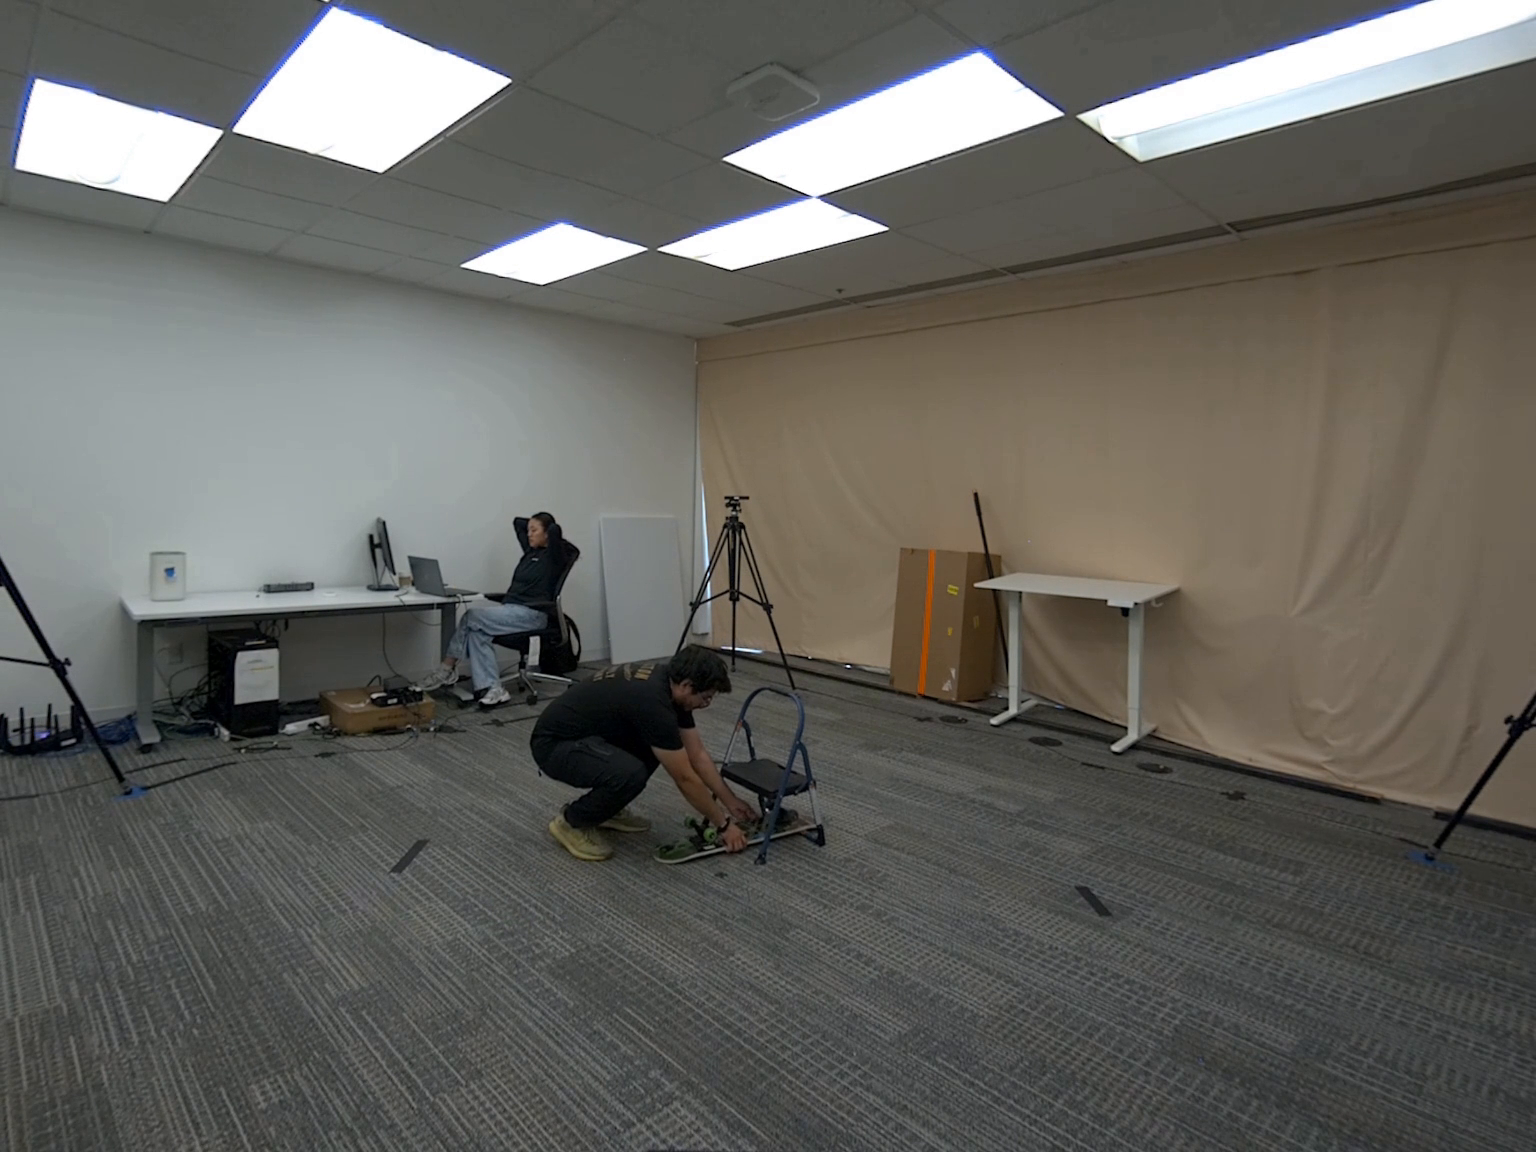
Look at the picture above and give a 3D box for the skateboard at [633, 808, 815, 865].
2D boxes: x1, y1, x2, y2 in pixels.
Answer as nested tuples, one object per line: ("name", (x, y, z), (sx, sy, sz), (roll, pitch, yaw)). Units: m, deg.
("skateboard", (-0.120, 1.022, 3.428), (0.769, 0.110, 0.198), (-3, 6, -35))
